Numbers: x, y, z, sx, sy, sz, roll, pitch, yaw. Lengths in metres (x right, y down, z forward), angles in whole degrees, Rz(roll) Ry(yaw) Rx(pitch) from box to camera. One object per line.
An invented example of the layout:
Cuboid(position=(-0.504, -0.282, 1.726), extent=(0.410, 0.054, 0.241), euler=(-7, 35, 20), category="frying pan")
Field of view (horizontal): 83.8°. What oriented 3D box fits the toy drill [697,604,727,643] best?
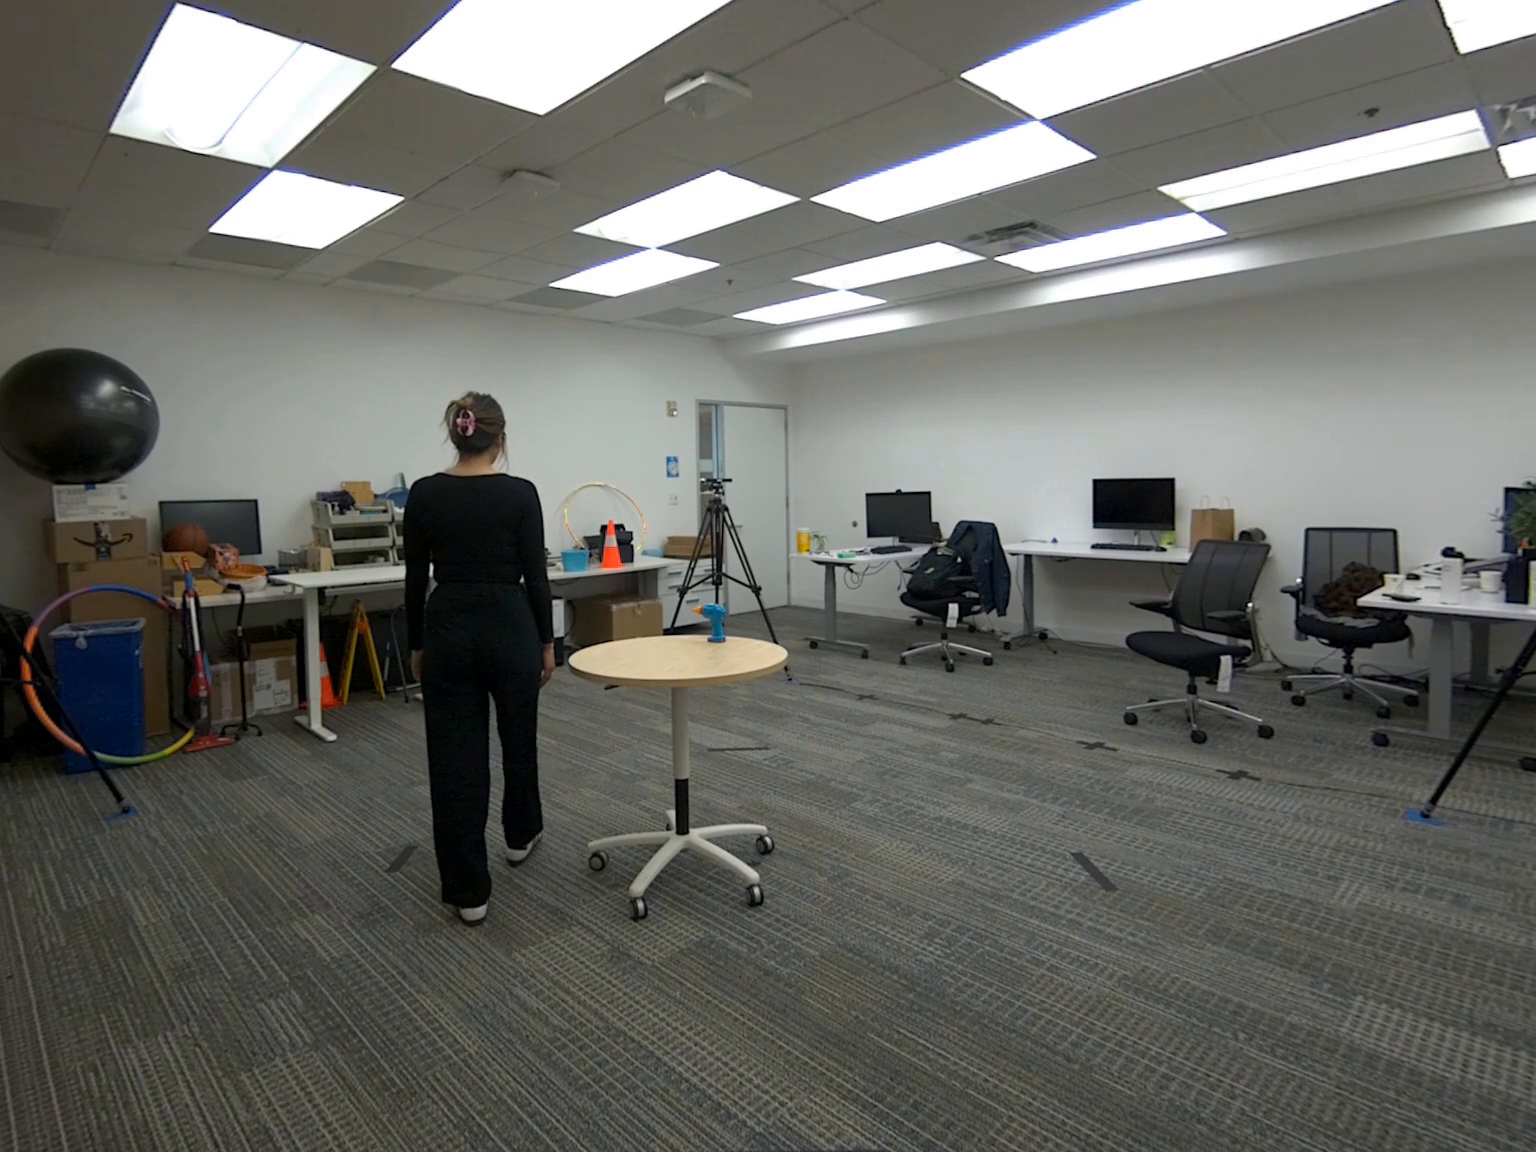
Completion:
Cuboid(position=(-0.226, 0.175, 3.266), extent=(0.175, 0.145, 0.059), euler=(1, 4, 37), category="toy drill")
